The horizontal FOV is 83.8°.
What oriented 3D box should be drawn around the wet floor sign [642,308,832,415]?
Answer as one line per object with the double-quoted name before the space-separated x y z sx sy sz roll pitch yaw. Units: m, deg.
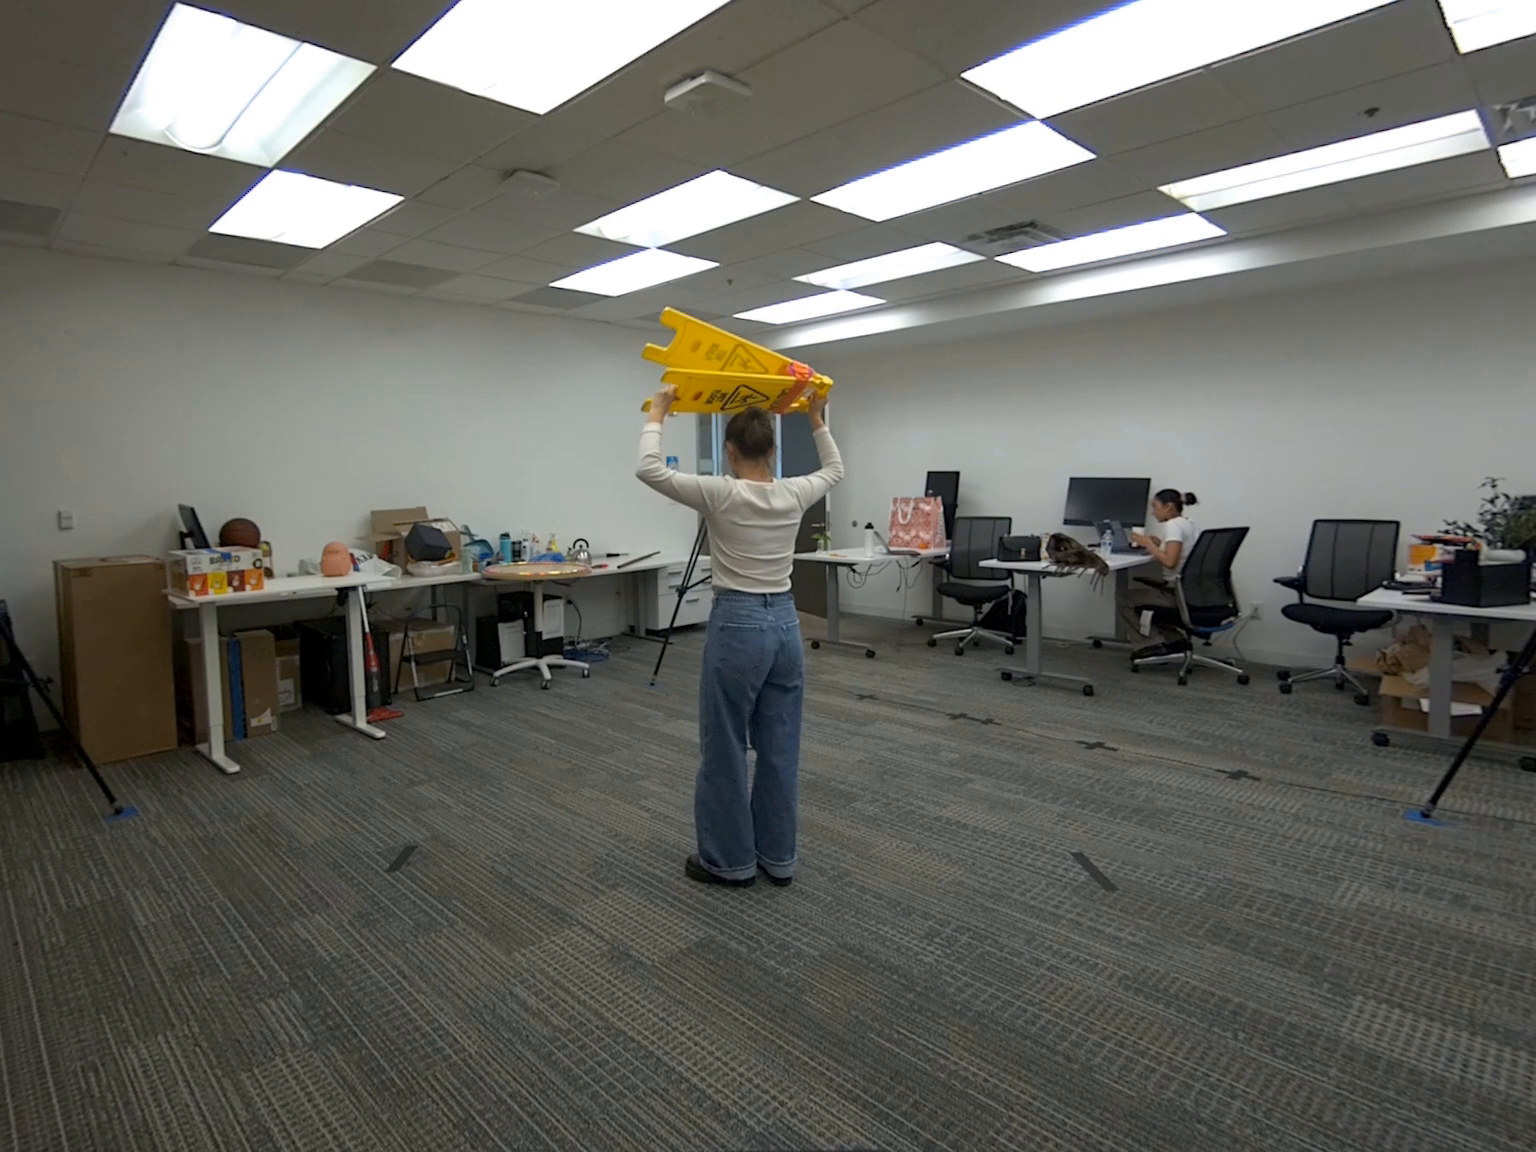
"wet floor sign" -0.090 -0.693 3.011 0.631 0.296 0.283 6 -25 -23
